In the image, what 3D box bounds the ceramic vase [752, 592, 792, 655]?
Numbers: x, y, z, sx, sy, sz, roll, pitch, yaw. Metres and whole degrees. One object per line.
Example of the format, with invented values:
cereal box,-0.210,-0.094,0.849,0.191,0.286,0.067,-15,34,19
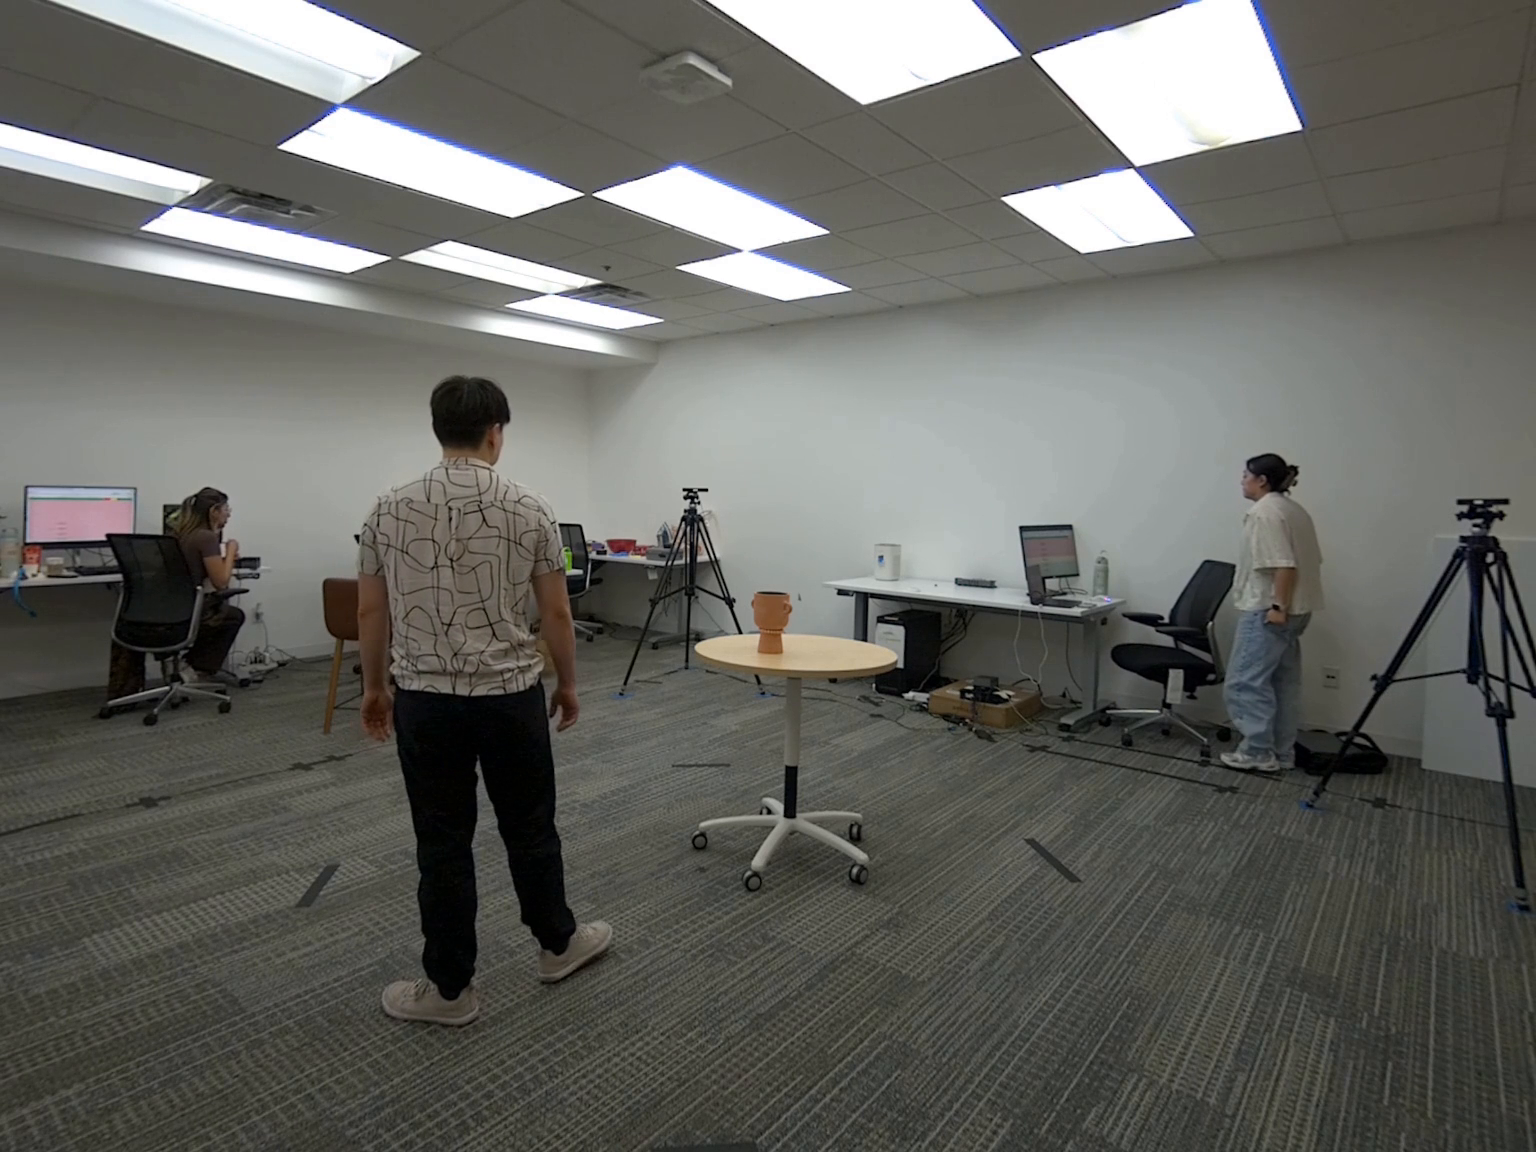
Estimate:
ceramic vase,0.002,0.172,3.186,0.134,0.219,0.160,0,3,-8
